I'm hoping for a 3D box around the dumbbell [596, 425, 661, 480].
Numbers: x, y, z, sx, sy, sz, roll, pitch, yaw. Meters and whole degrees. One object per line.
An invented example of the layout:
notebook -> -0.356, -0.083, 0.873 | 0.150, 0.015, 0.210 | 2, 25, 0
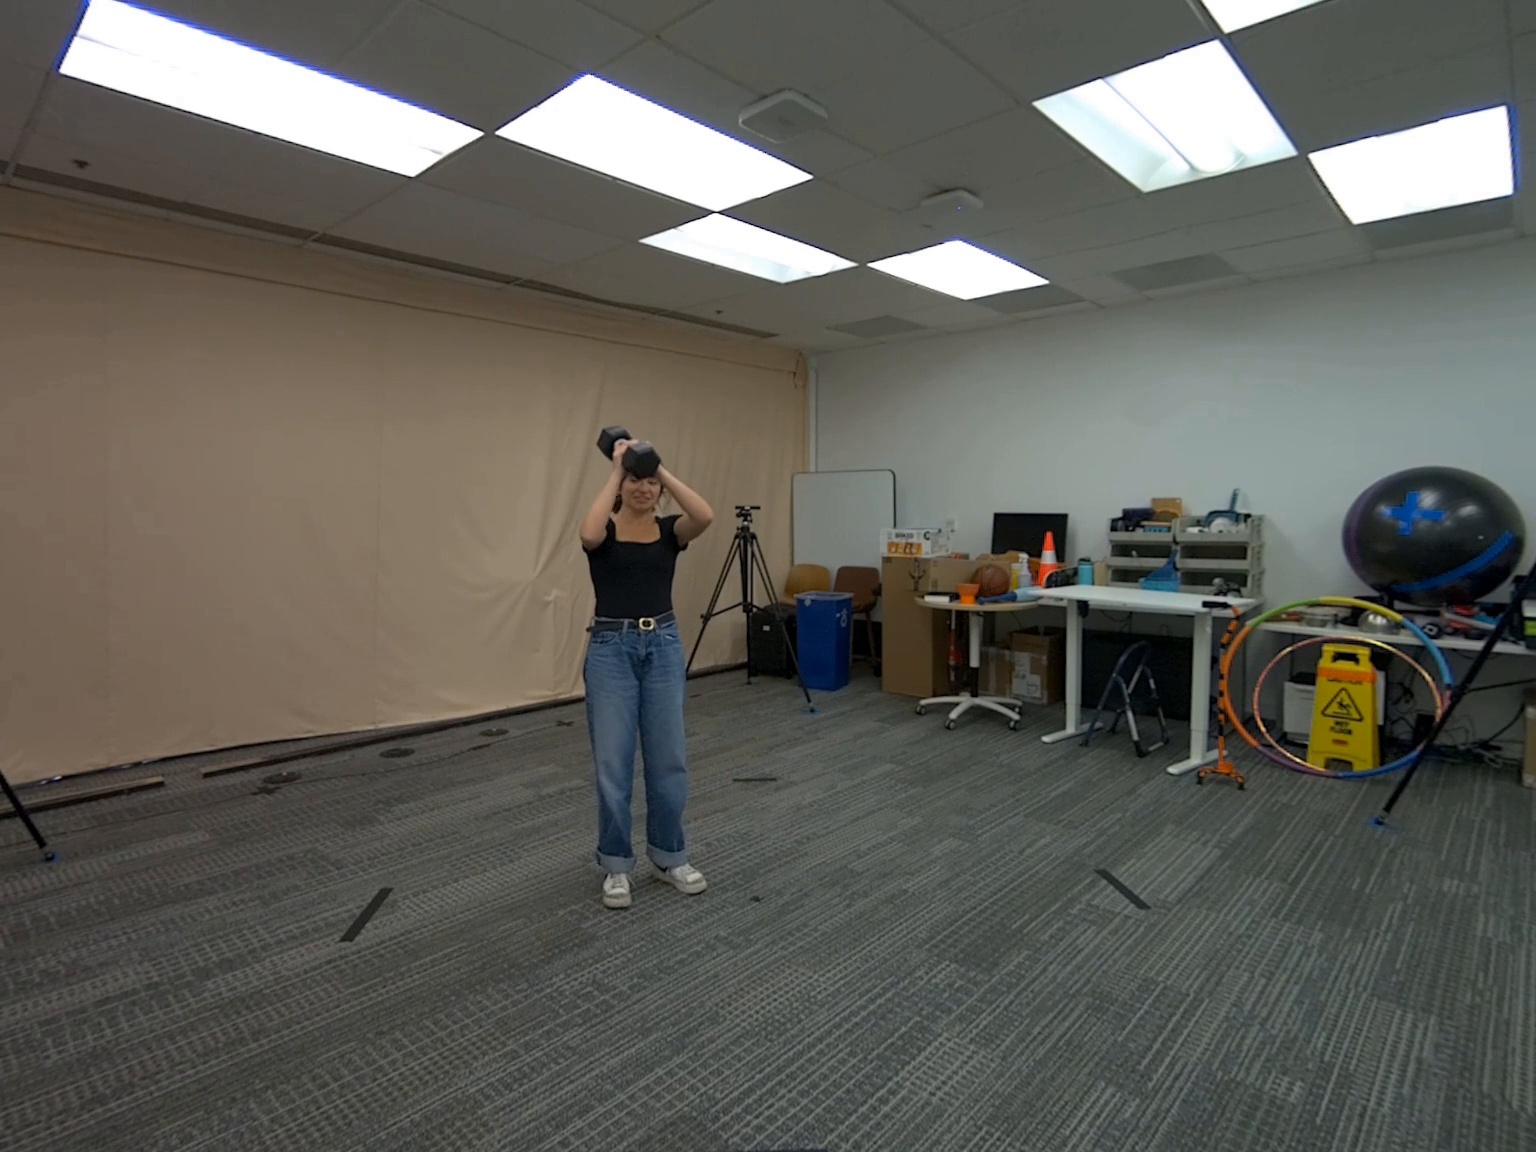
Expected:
dumbbell -> -0.478, -0.426, 2.888 | 0.105, 0.123, 0.304 | 18, 13, -37
